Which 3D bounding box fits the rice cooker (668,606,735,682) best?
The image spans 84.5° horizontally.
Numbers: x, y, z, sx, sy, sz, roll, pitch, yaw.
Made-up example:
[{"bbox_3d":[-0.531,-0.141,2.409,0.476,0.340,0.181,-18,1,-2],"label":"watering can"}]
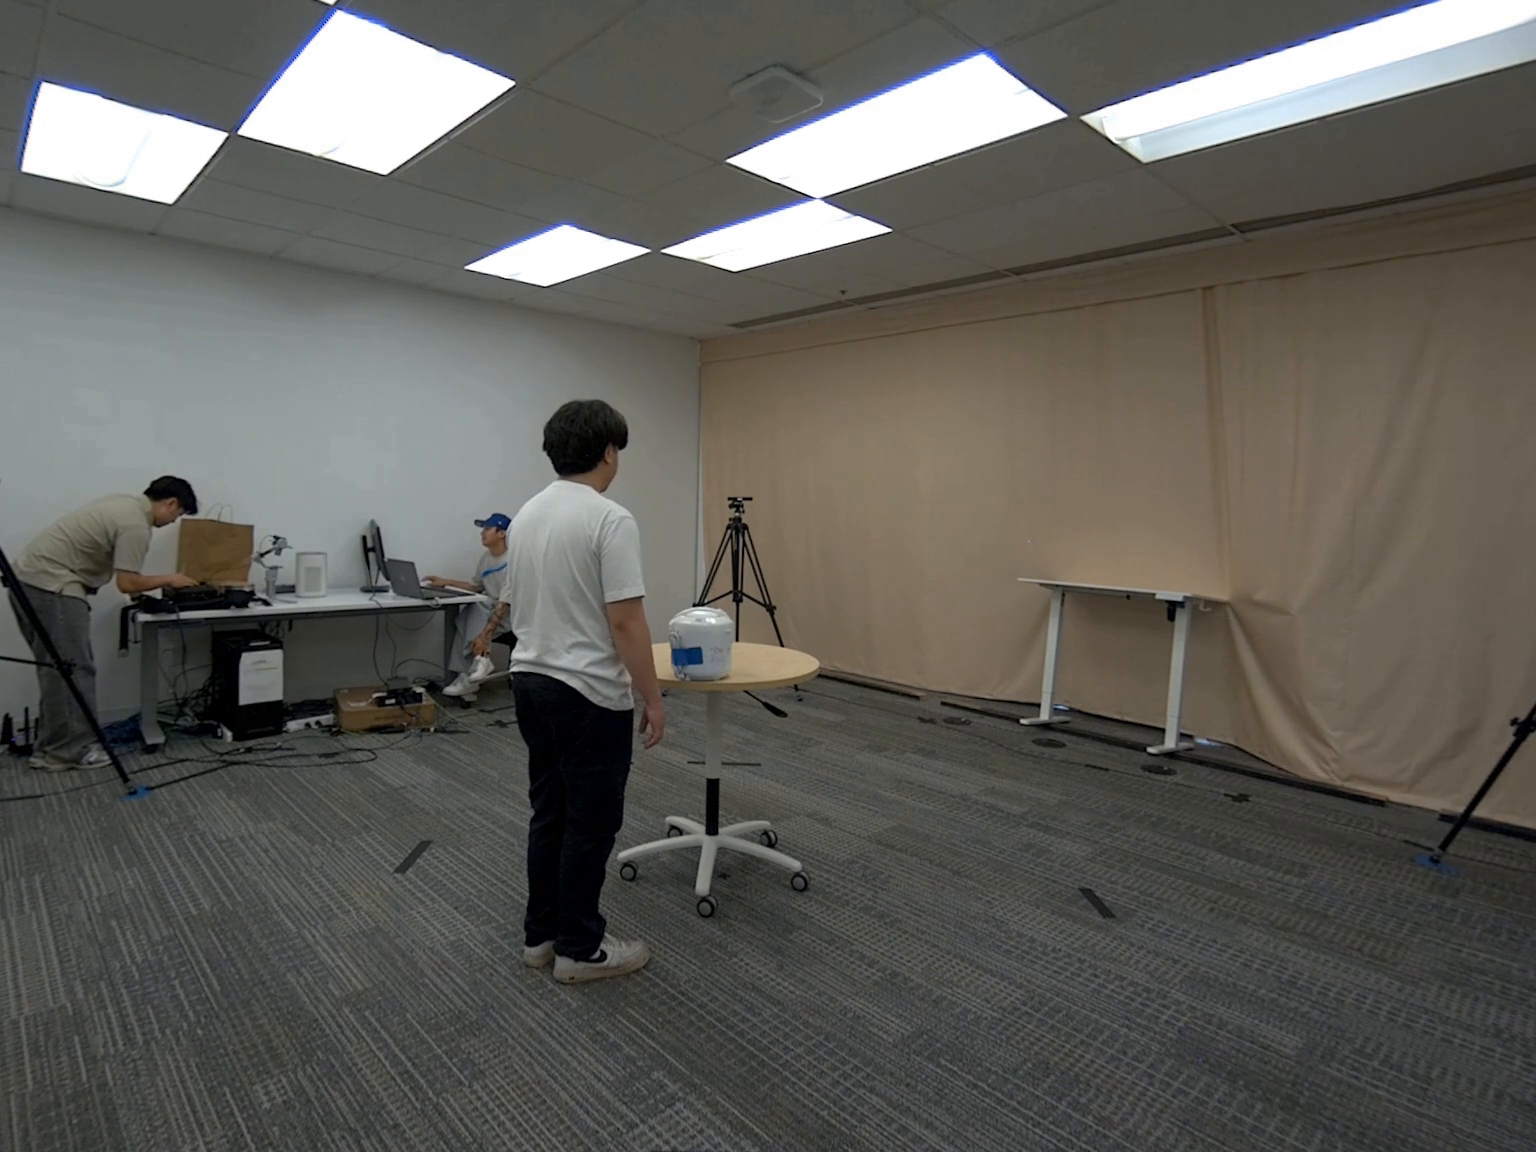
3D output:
[{"bbox_3d":[-0.227,0.220,2.816,0.220,0.232,0.219,1,6,-6],"label":"rice cooker"}]
